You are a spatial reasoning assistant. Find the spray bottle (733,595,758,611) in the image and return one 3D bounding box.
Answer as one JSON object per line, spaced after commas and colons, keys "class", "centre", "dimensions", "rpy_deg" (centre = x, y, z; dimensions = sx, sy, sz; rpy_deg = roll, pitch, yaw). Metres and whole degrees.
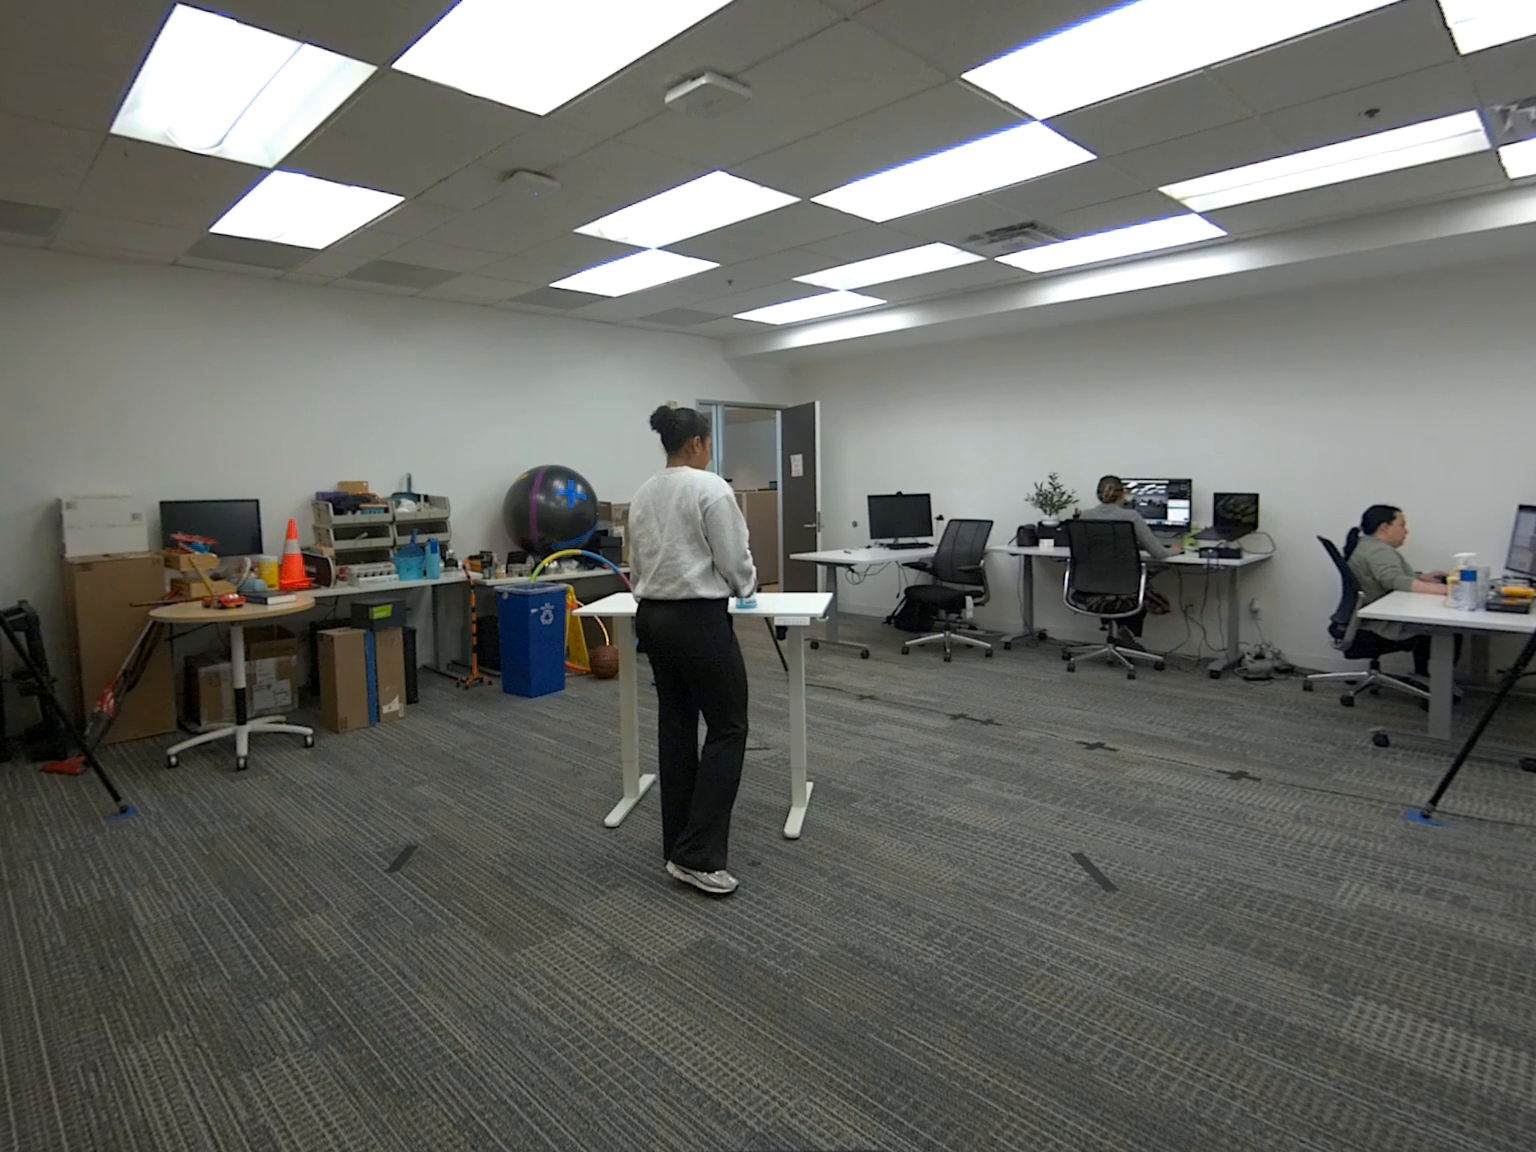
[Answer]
{"class": "spray bottle", "centre": [-0.085, -0.020, 3.418], "dimensions": [0.089, 0.296, 0.088], "rpy_deg": [1, 4, 24]}
